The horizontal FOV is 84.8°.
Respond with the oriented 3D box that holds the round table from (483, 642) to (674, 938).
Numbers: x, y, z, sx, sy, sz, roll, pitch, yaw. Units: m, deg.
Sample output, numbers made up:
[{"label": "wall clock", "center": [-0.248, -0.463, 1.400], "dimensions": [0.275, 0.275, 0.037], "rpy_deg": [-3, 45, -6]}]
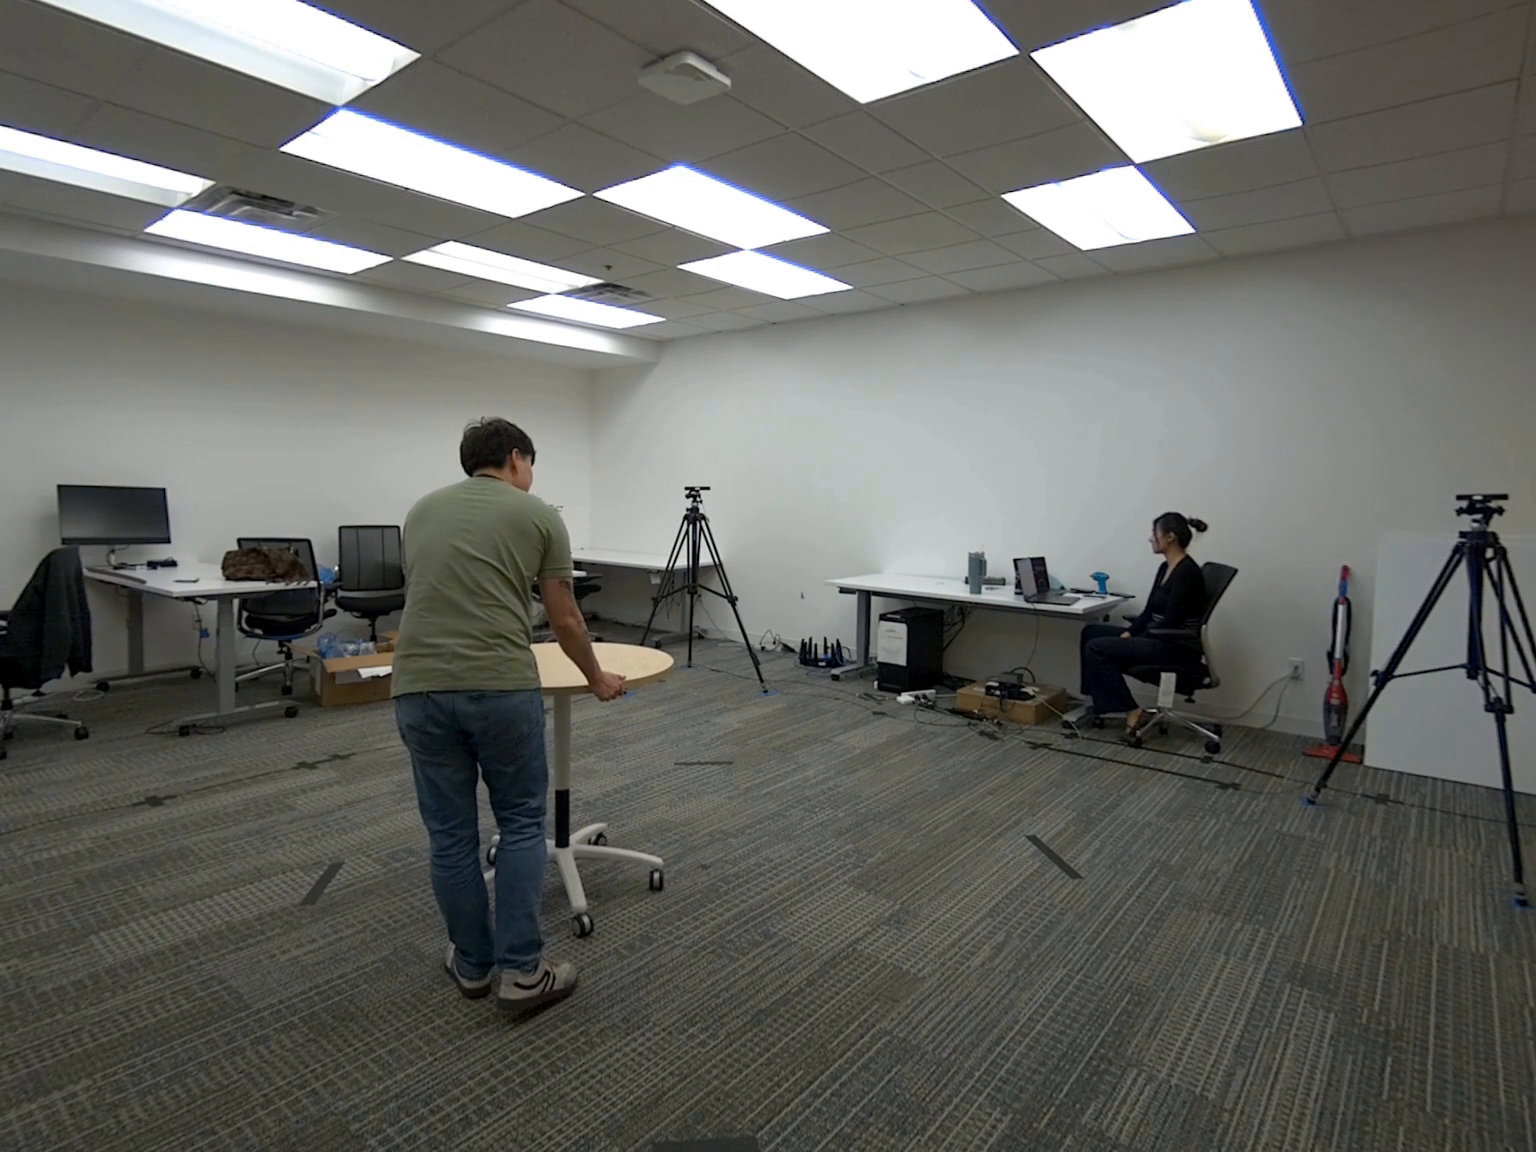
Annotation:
[{"label": "round table", "center": [-0.714, 0.688, 2.935], "dimensions": [0.763, 0.792, 0.767], "rpy_deg": [0, 4, -2]}]
